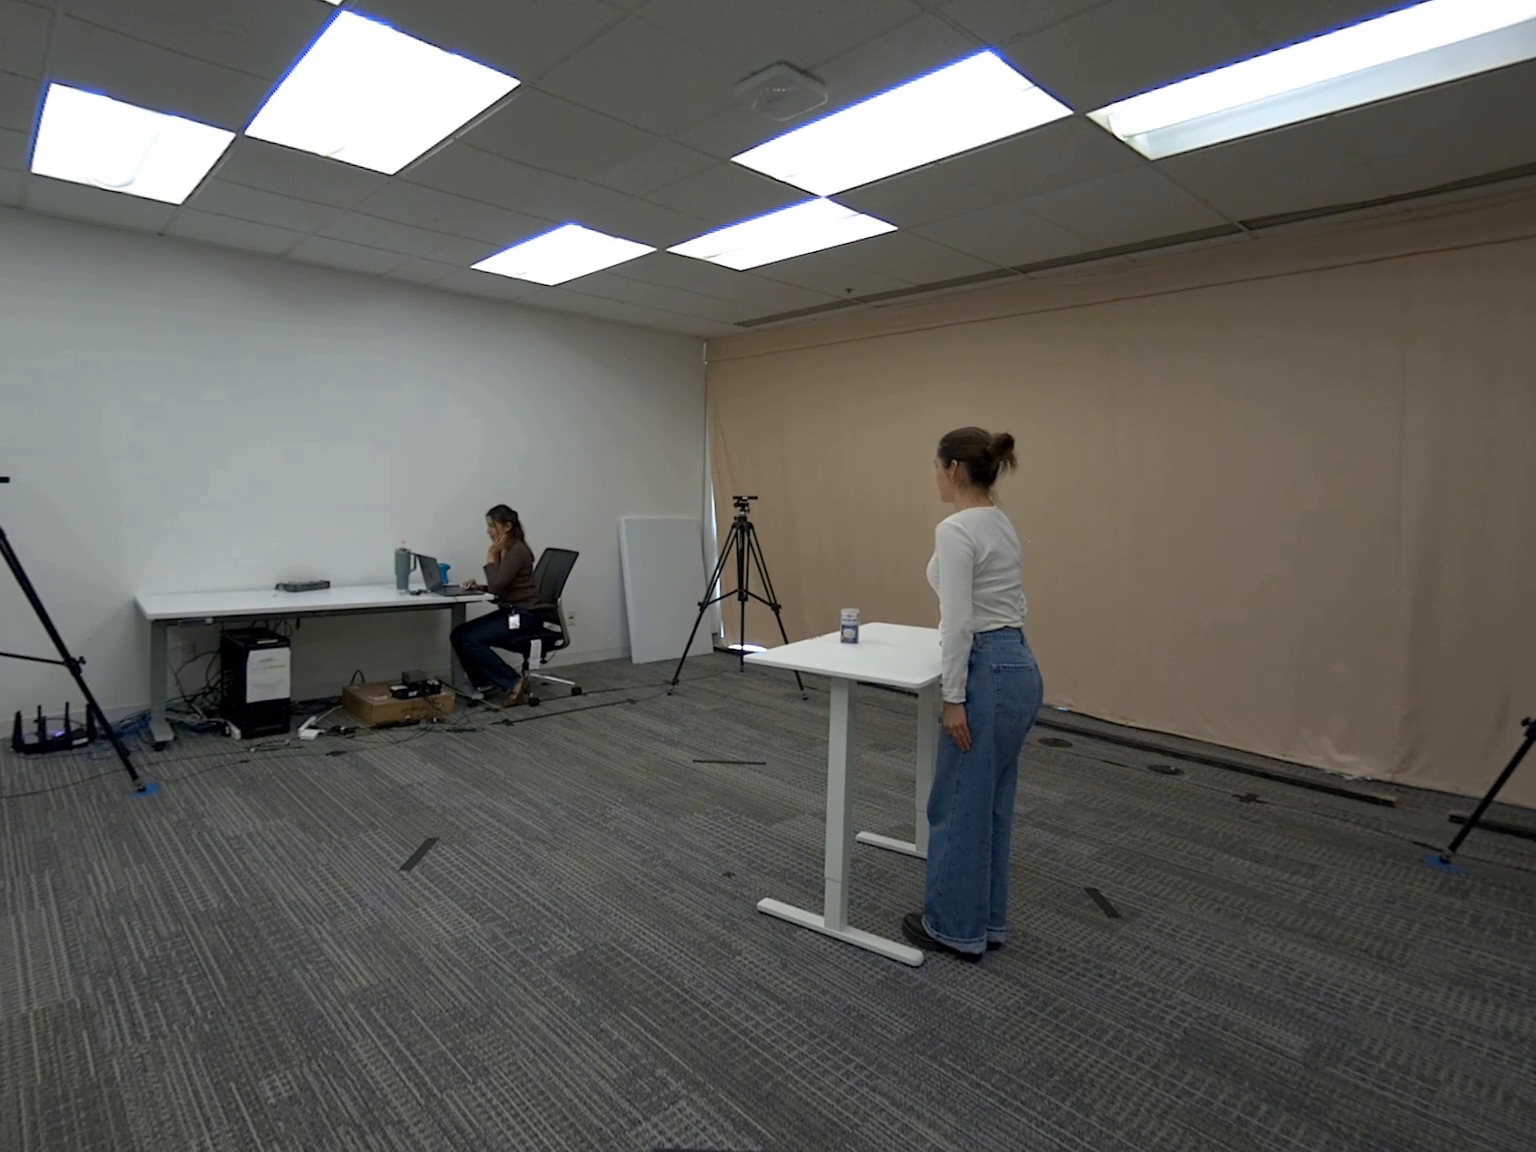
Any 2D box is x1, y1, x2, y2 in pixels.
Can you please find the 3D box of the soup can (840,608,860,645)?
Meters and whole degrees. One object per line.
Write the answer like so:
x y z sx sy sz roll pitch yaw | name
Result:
0.289 0.180 3.026 0.067 0.121 0.067 2 2 -1 | soup can
